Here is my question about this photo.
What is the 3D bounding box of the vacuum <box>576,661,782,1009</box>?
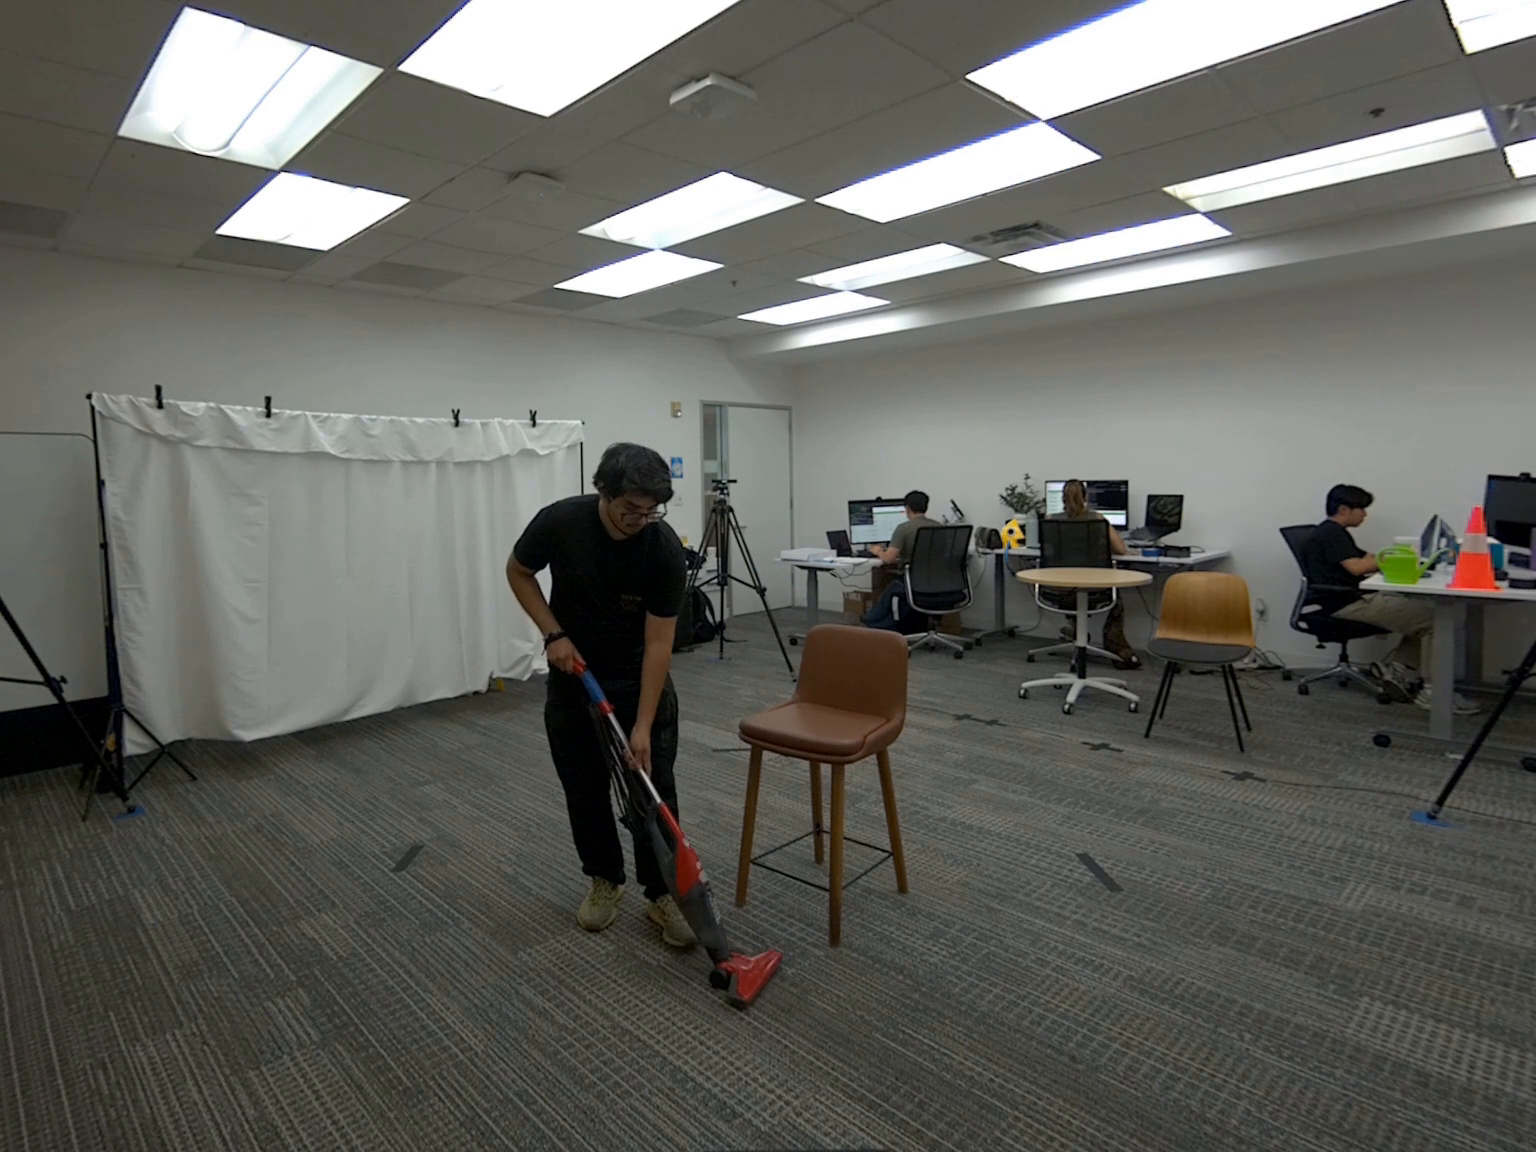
[{"bbox_3d":[-0.329,0.688,2.481,0.145,1.064,0.248,-36,-11,23],"label":"vacuum"}]
